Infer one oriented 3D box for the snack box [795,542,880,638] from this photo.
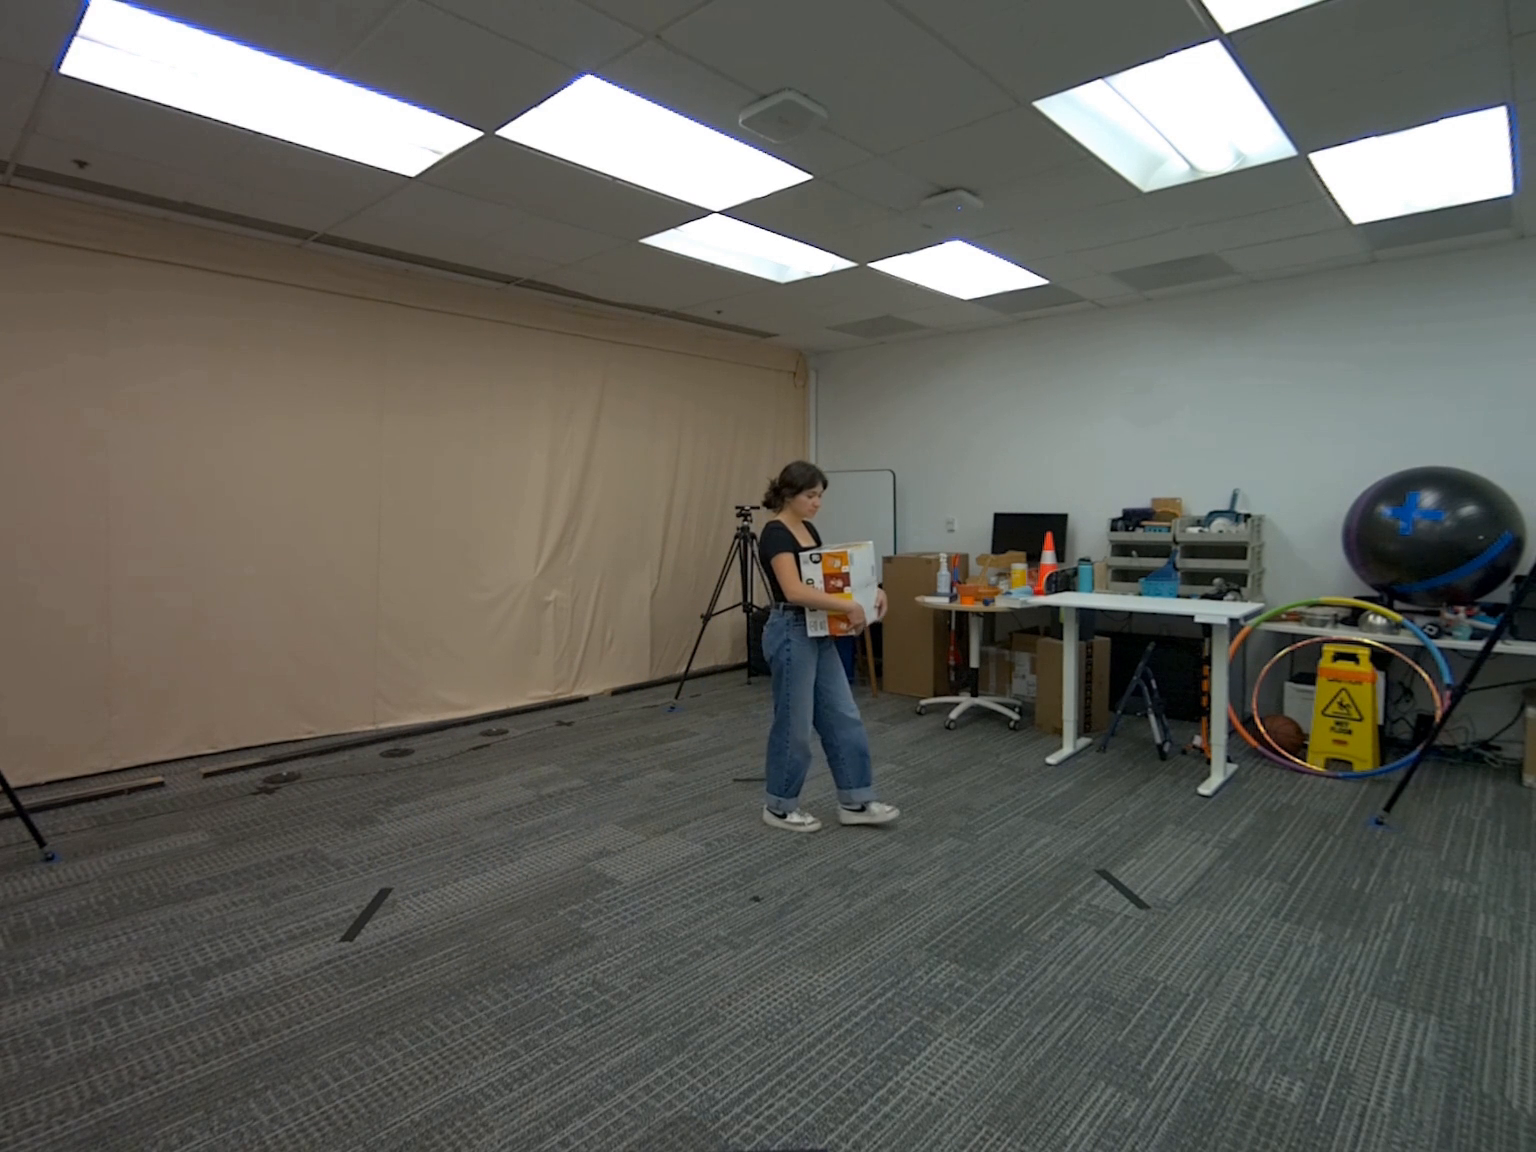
[{"bbox_3d":[0.316,0.046,3.536,0.210,0.339,0.397,-4,5,23],"label":"snack box"}]
